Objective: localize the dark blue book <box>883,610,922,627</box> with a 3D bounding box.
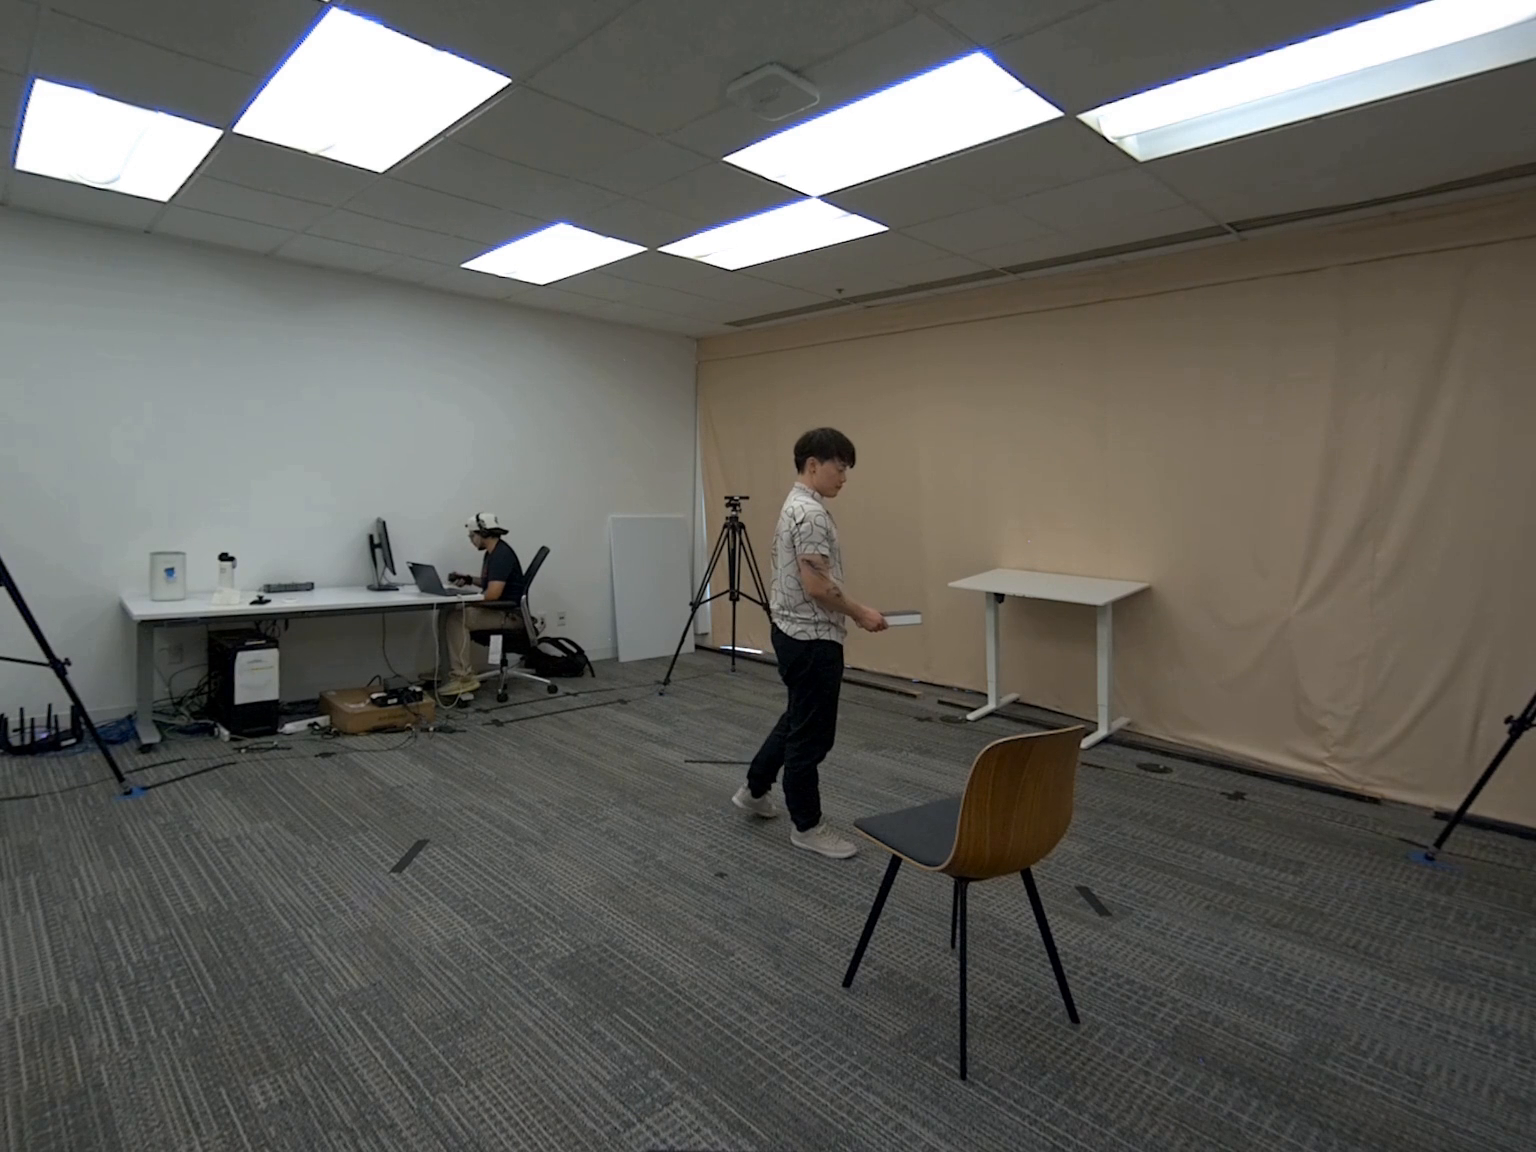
[{"bbox_3d":[0.453,0.167,3.341,0.247,0.045,0.162,-3,2,10],"label":"dark blue book"}]
